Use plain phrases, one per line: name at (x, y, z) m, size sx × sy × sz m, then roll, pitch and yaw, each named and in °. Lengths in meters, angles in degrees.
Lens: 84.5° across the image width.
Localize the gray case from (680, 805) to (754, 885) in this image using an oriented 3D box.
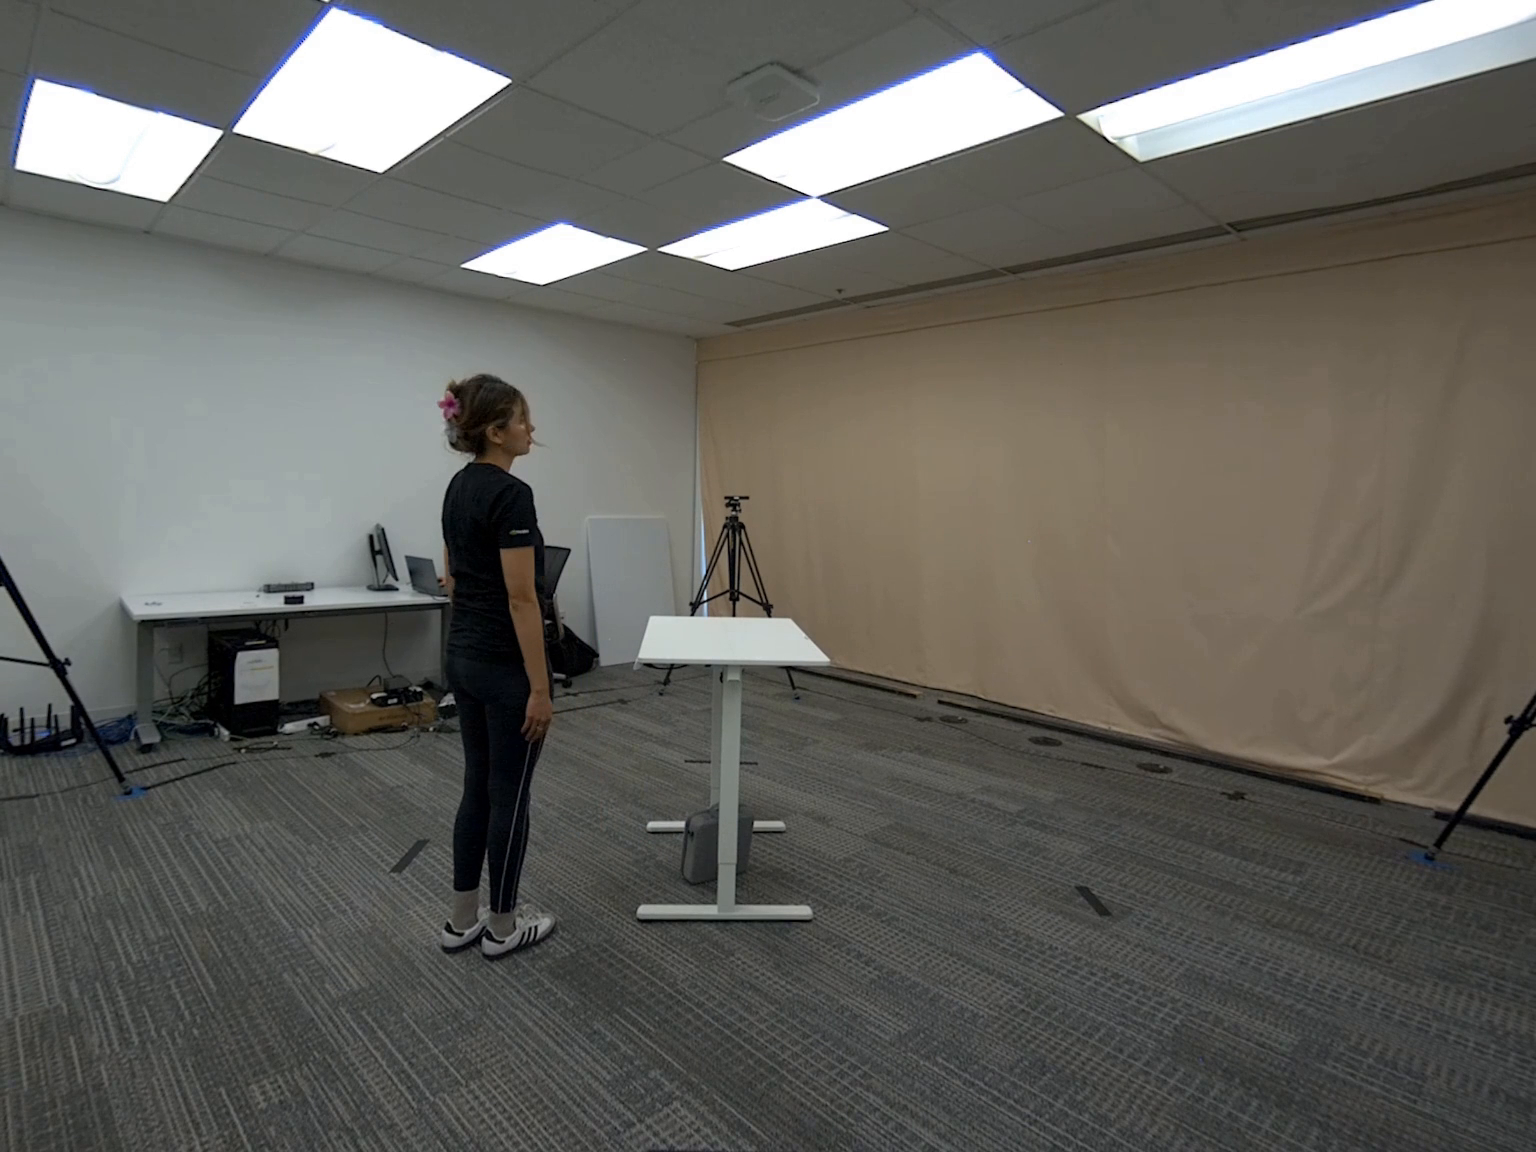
gray case at (-0.187, 0.975, 3.081) m, size 0.252 × 0.258 × 0.107 m, roll -2°, pitch 15°, yaw -31°
